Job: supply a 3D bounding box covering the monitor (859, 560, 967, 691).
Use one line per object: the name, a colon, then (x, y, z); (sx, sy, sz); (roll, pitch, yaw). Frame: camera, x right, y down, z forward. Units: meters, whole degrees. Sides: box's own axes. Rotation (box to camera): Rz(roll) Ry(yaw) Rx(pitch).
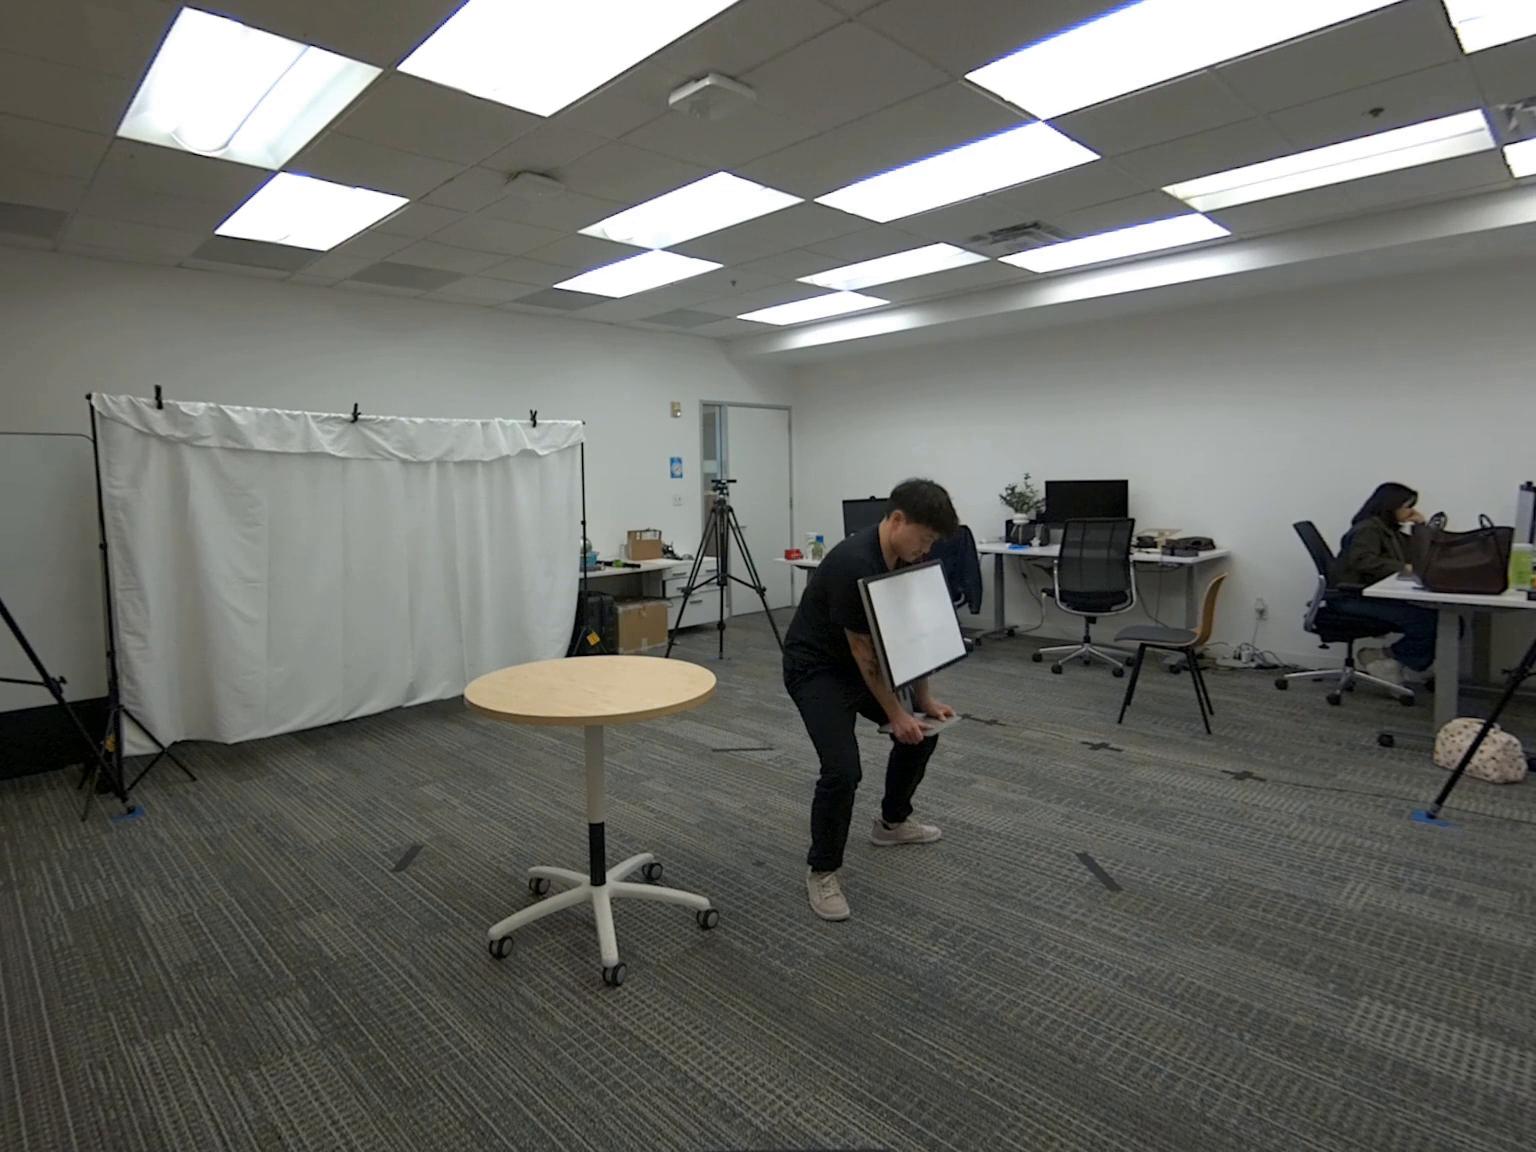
monitor: (0.475, 0.250, 2.880); (0.192, 0.521, 0.526); (-3, 4, 37)
